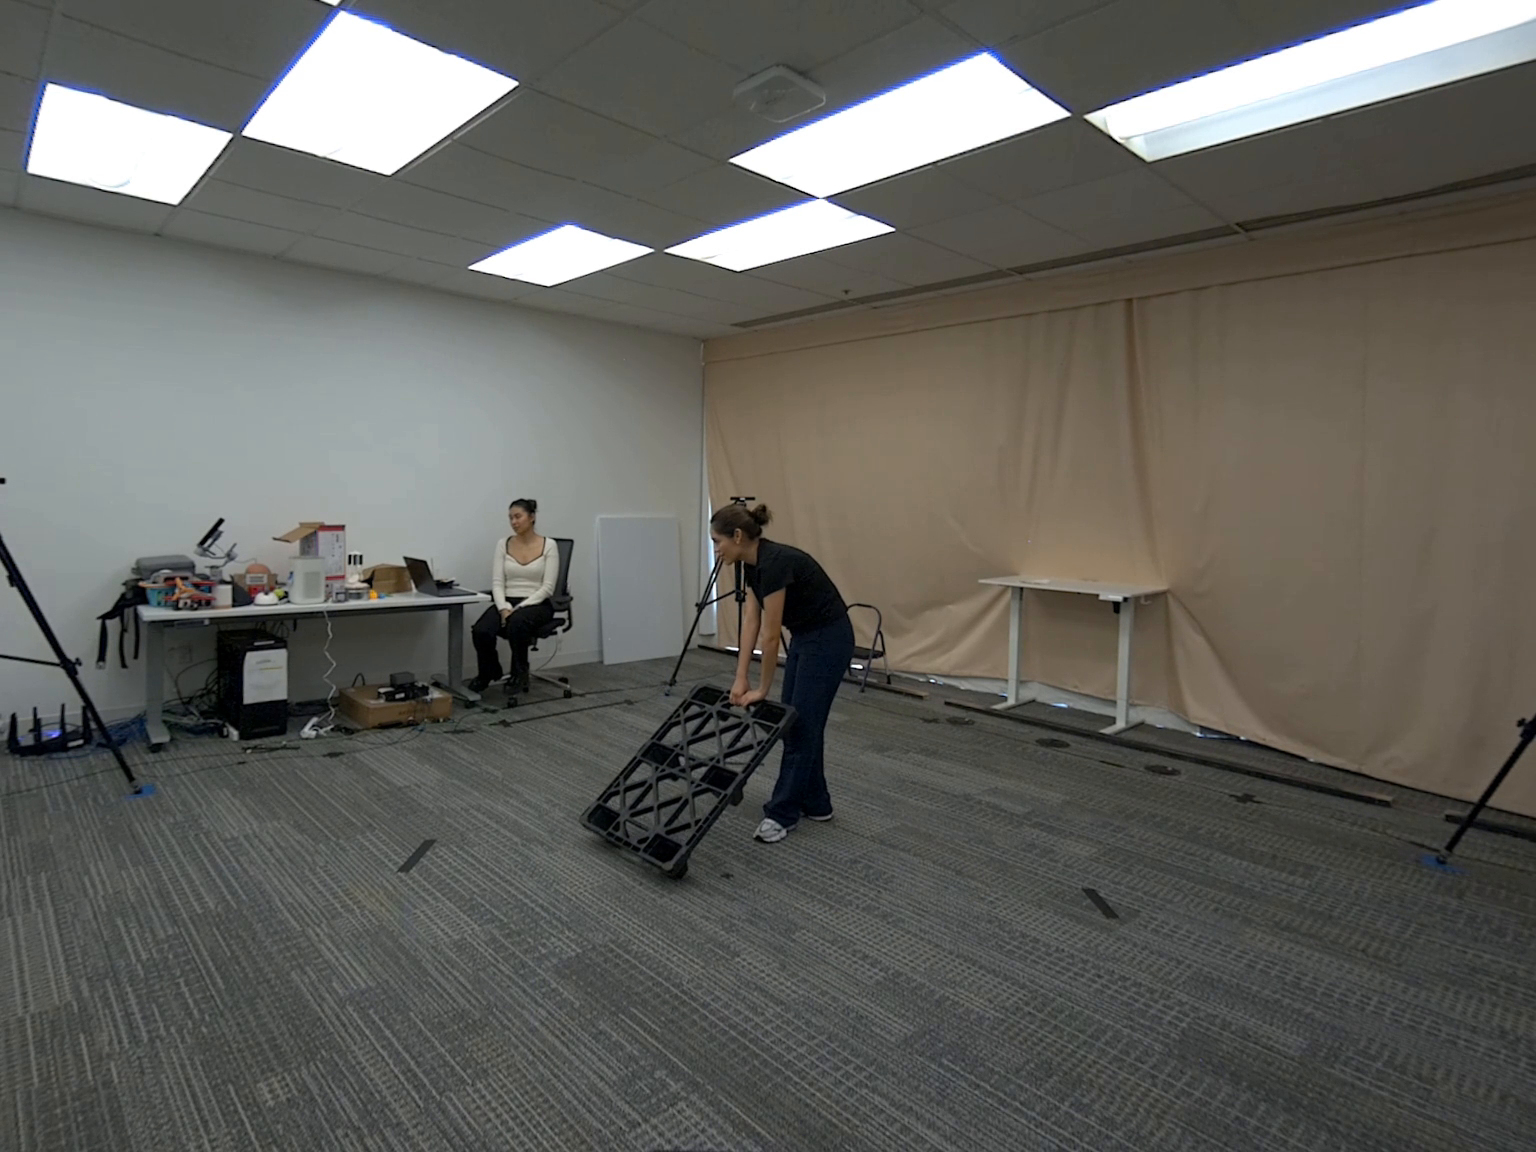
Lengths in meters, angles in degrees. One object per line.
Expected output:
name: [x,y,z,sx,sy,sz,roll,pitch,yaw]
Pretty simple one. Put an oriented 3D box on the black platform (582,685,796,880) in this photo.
black platform: [-0.300,0.803,3.380,0.621,0.139,0.806,6,45,45]
